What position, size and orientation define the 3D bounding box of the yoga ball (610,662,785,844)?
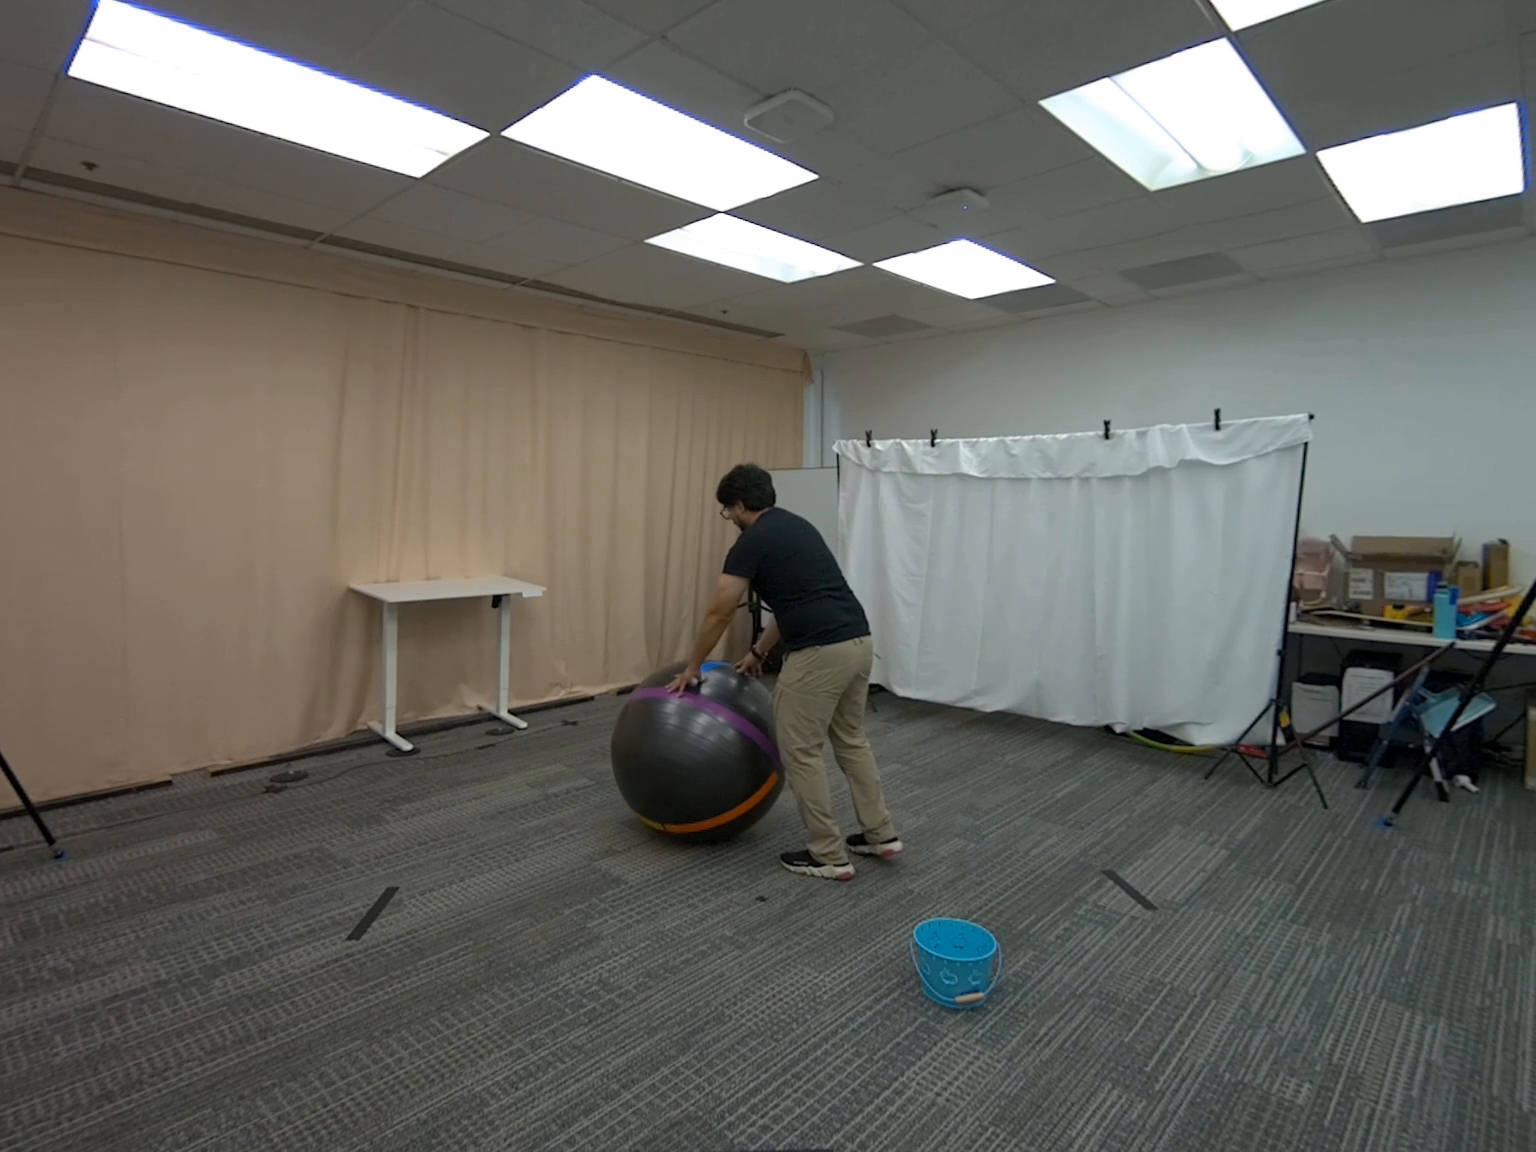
[{"bbox_3d":[-0.290,0.741,3.585,0.757,0.756,0.760,0,4,-2],"label":"yoga ball"}]
